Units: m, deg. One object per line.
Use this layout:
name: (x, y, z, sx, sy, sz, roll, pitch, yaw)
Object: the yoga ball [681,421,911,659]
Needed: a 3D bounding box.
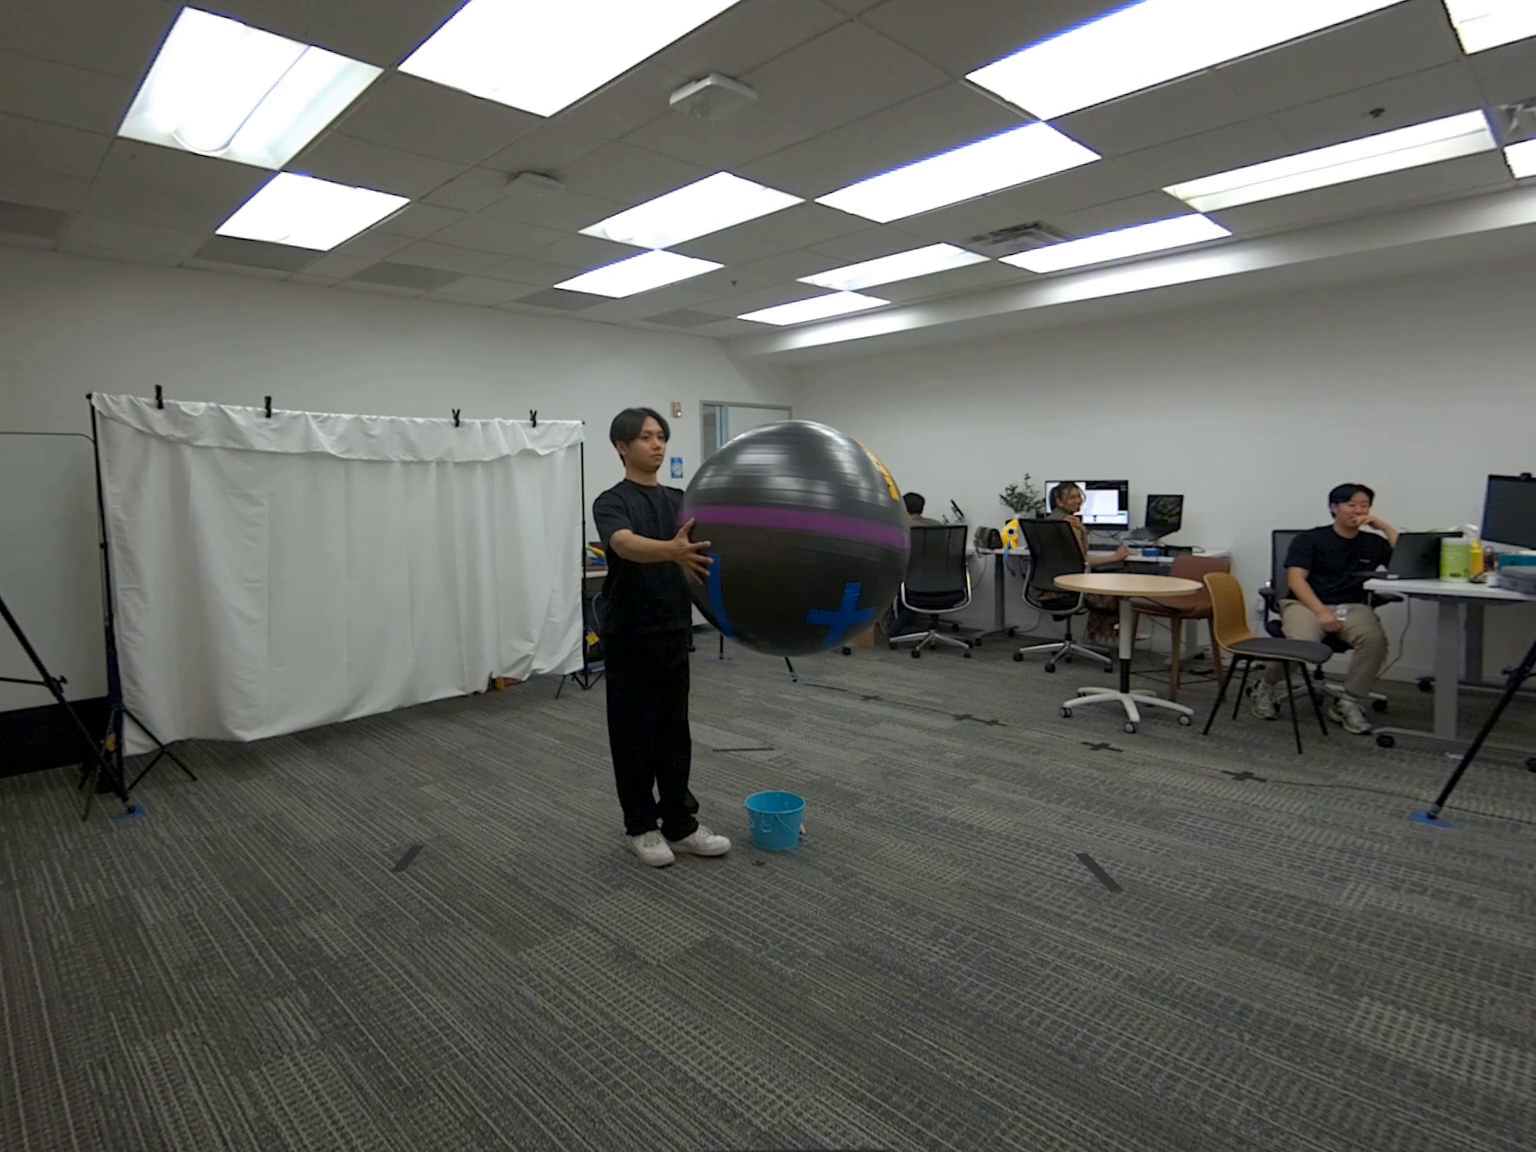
yoga ball: (0.089, -0.116, 2.779, 0.757, 0.755, 0.762, -1, 5, -2)
